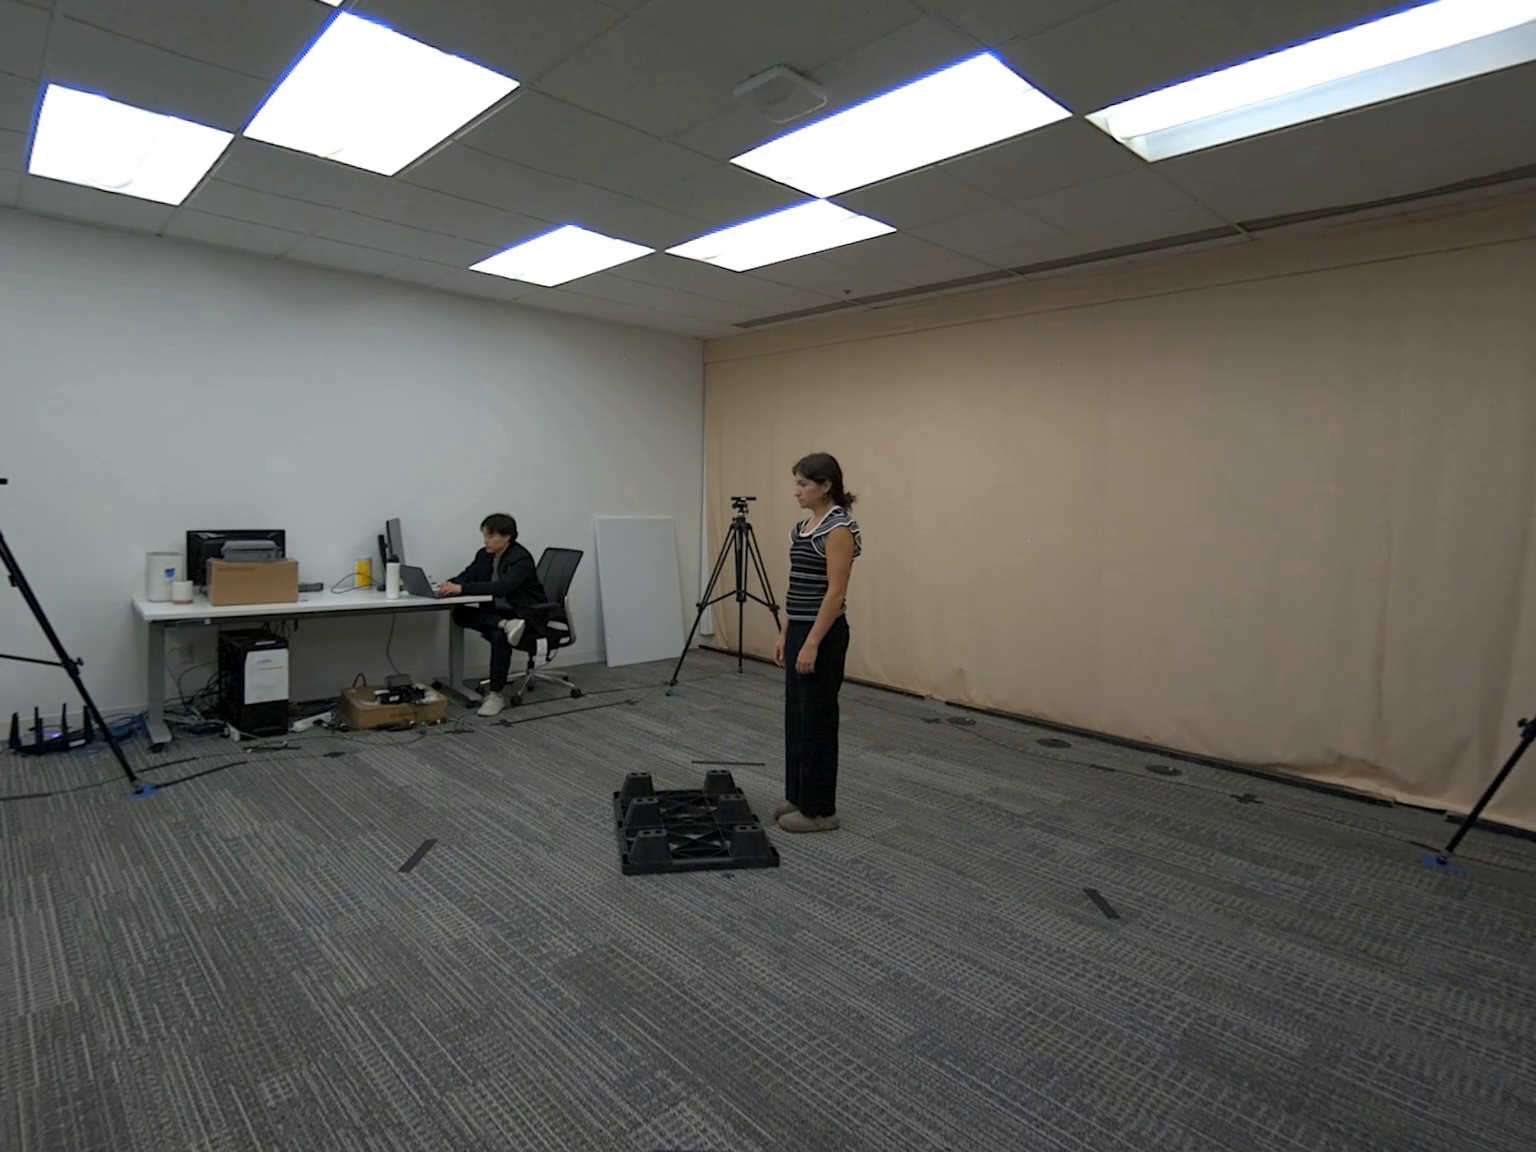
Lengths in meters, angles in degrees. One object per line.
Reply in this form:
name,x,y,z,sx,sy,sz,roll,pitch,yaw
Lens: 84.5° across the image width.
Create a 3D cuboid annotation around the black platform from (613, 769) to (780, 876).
black platform,-0.344,0.999,3.520,0.599,0.143,0.815,1,4,-13
